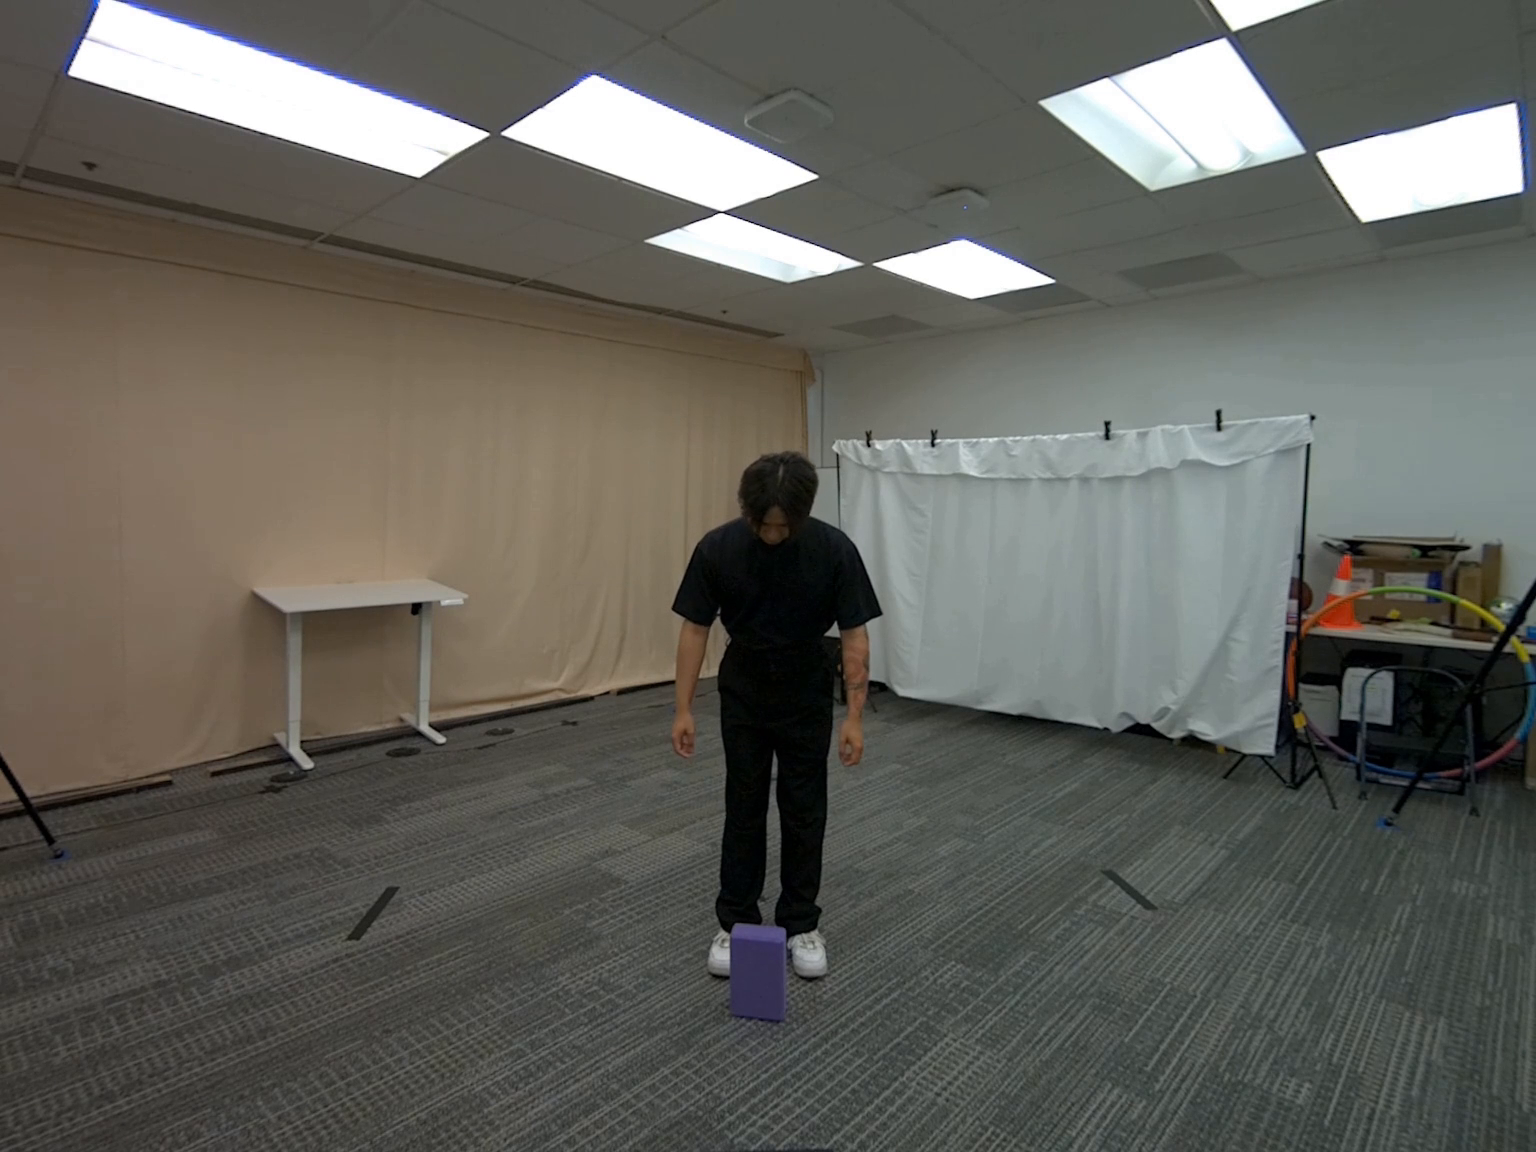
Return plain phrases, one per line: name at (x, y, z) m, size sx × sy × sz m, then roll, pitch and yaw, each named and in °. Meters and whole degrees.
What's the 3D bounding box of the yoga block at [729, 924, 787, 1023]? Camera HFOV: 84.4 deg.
yoga block at (-0.022, 1.084, 2.309) m, size 0.150 × 0.228 × 0.076 m, roll 0°, pitch 5°, yaw 9°
